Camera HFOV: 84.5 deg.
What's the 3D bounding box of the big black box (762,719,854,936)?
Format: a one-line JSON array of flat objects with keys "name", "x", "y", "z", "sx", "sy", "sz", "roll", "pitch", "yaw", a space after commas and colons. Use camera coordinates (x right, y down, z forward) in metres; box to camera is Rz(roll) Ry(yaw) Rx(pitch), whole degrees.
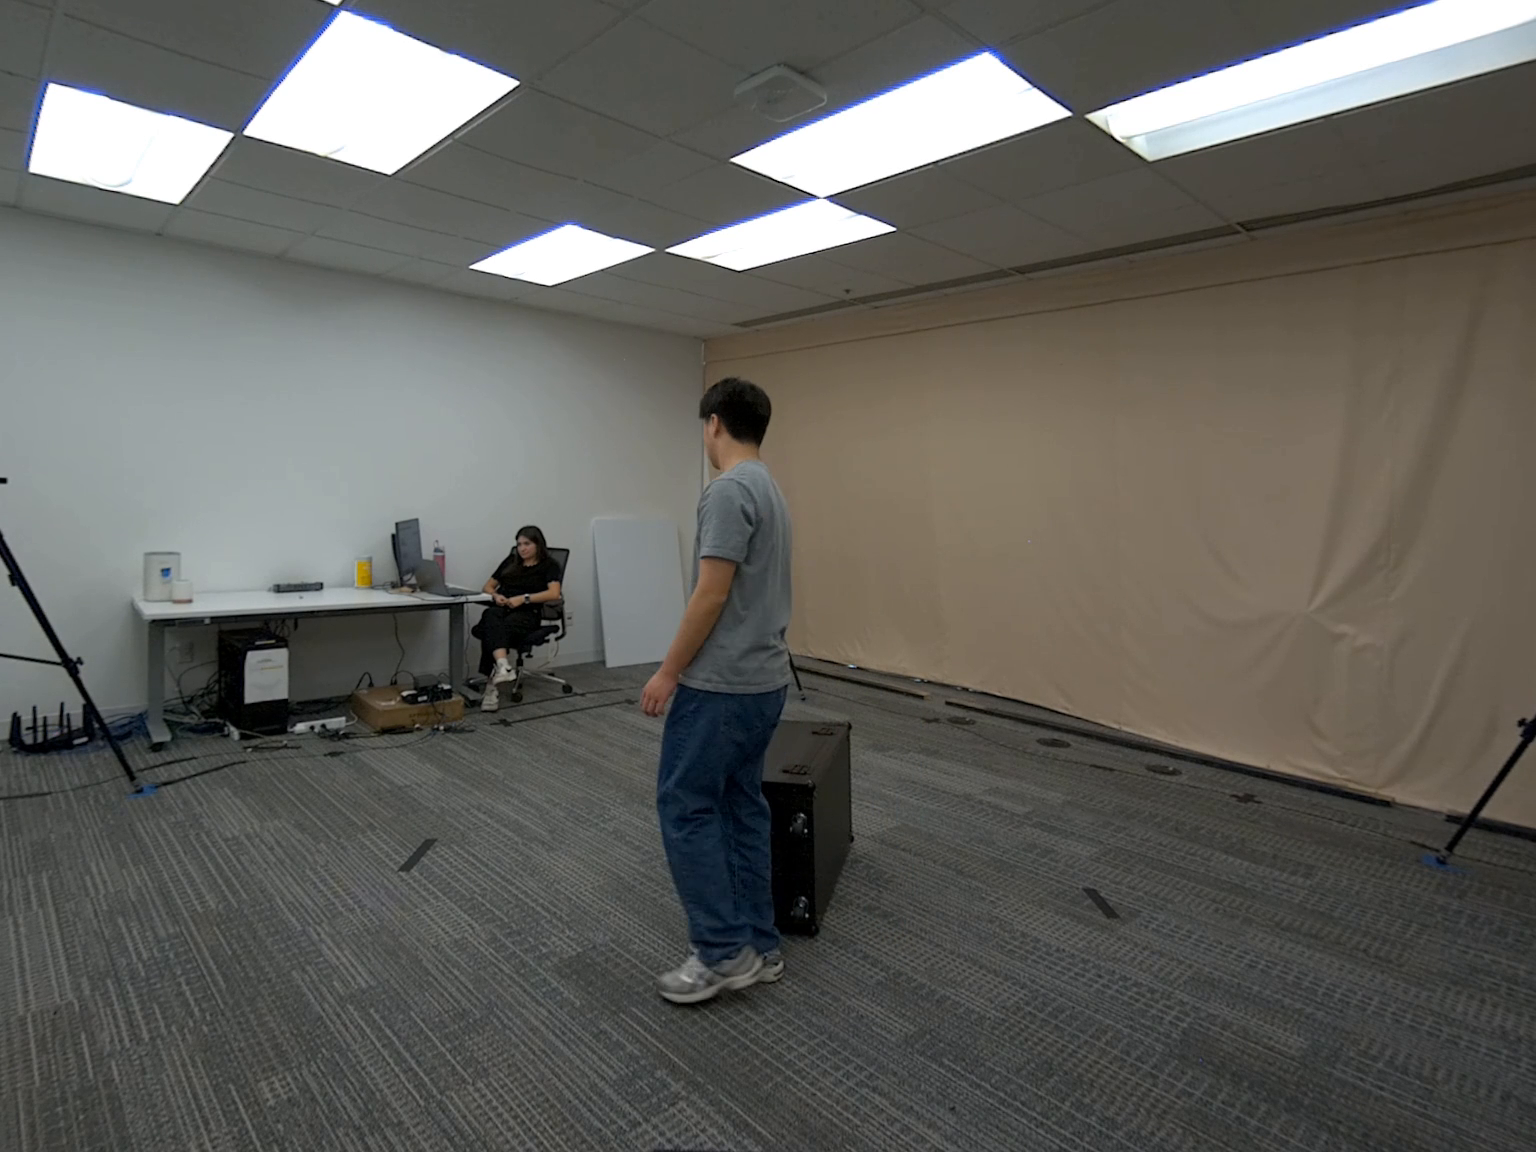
[{"name": "big black box", "x": 0.048, "y": 0.855, "z": 3.039, "sx": 0.401, "sy": 0.520, "sz": 0.853, "roll": 0, "pitch": 4, "yaw": 14}]
